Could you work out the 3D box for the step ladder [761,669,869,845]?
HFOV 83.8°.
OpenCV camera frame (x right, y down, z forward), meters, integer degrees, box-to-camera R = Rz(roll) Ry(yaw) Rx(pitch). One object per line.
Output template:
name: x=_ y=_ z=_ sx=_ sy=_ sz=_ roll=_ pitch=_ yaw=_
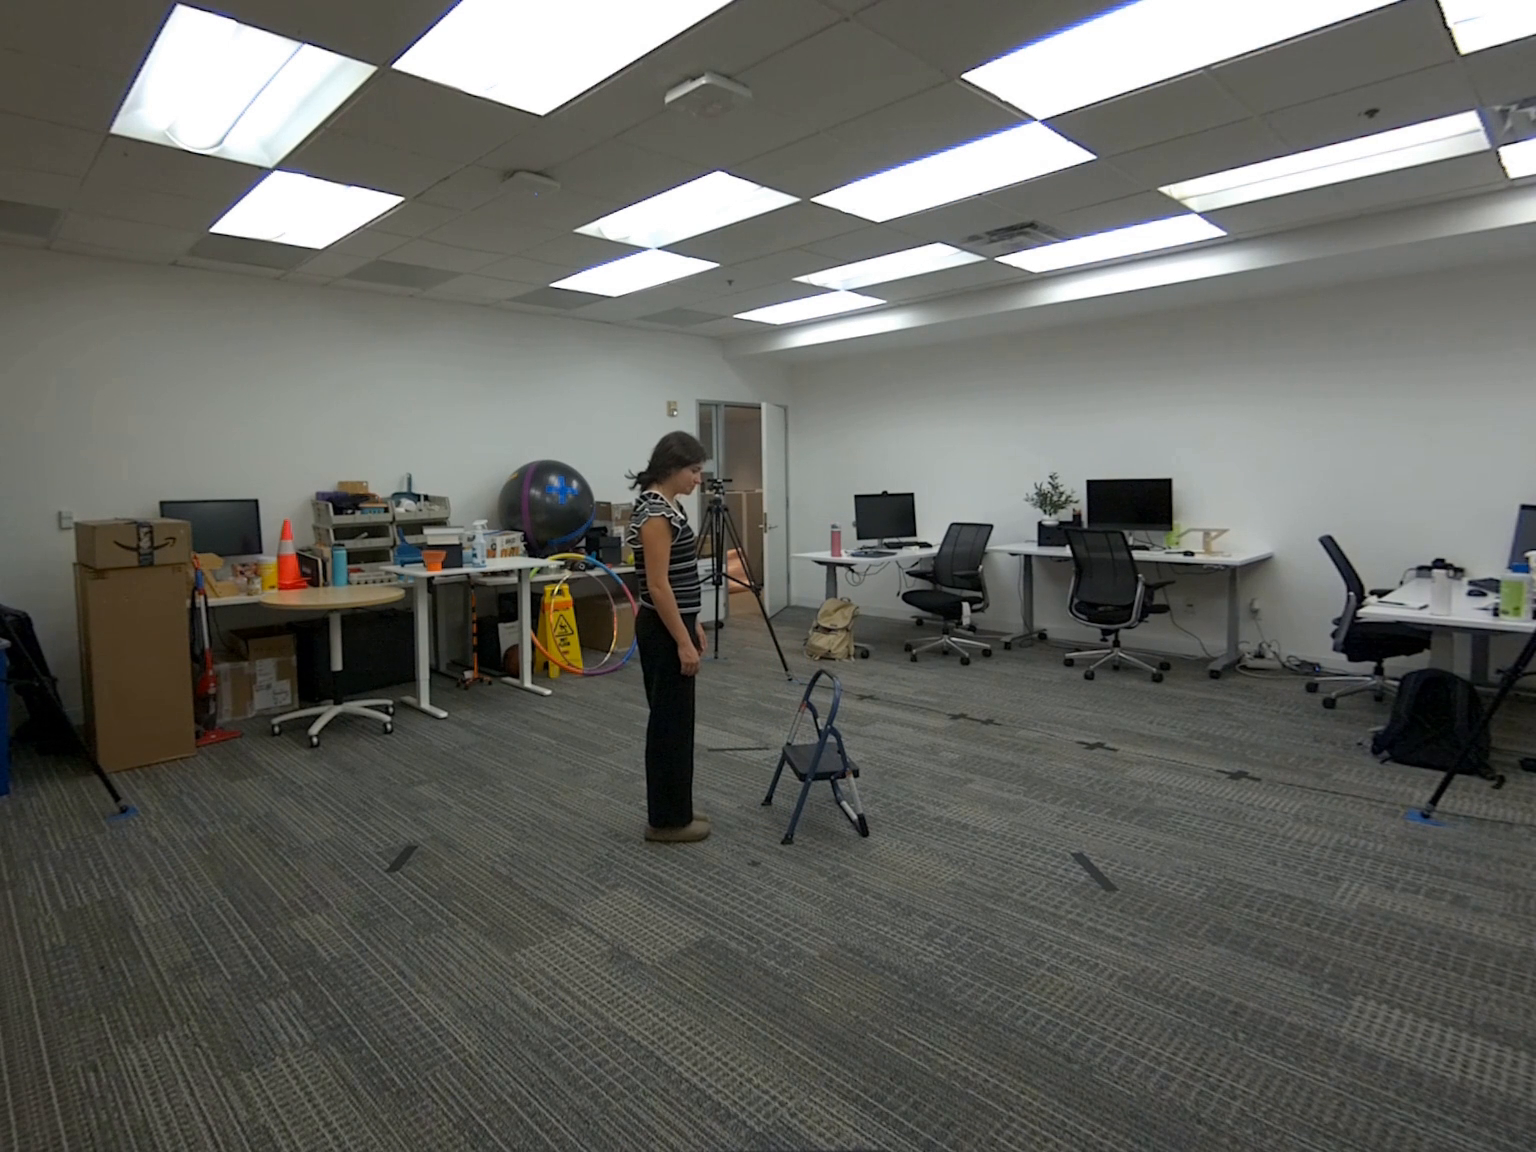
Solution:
step ladder: x=0.181 y=0.695 z=3.479 sx=0.346 sy=0.604 sz=0.437 roll=-2 pitch=5 yaw=-11
